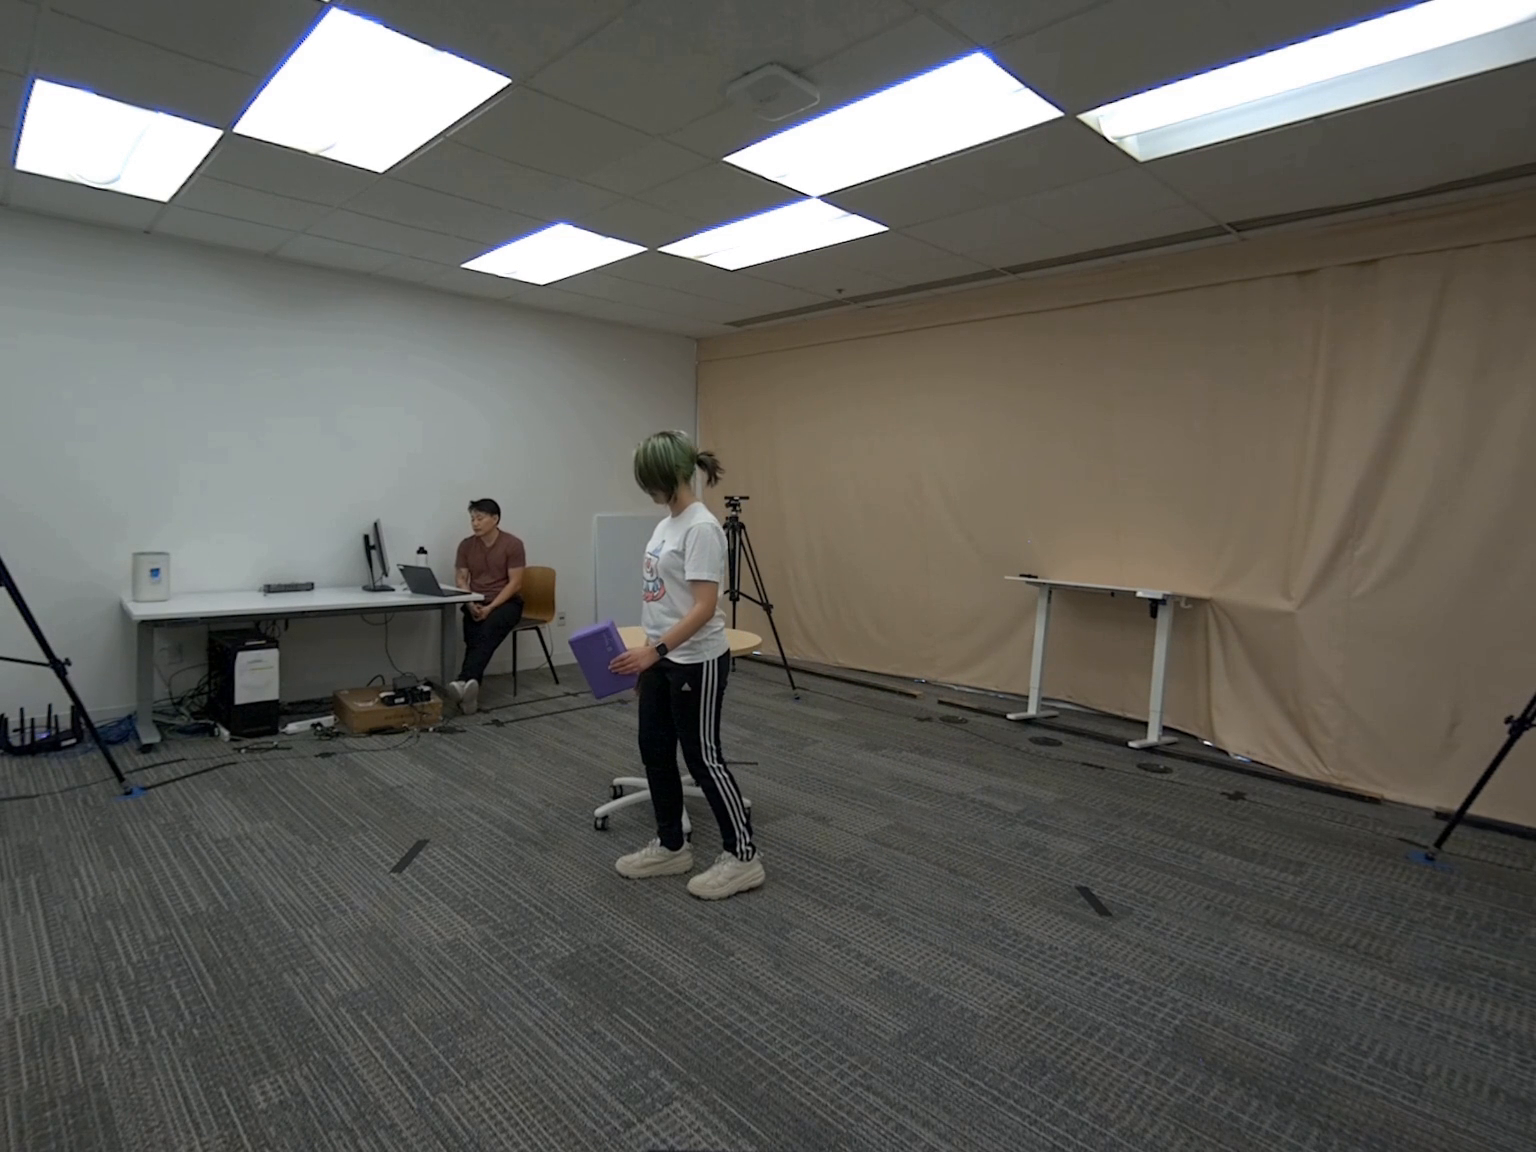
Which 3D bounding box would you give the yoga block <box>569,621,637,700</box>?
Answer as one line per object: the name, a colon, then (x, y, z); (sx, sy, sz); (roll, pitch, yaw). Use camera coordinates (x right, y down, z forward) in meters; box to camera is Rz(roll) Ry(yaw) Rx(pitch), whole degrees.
yoga block: (-0.535, 0.274, 2.746); (0.149, 0.225, 0.078); (-20, 19, 3)
